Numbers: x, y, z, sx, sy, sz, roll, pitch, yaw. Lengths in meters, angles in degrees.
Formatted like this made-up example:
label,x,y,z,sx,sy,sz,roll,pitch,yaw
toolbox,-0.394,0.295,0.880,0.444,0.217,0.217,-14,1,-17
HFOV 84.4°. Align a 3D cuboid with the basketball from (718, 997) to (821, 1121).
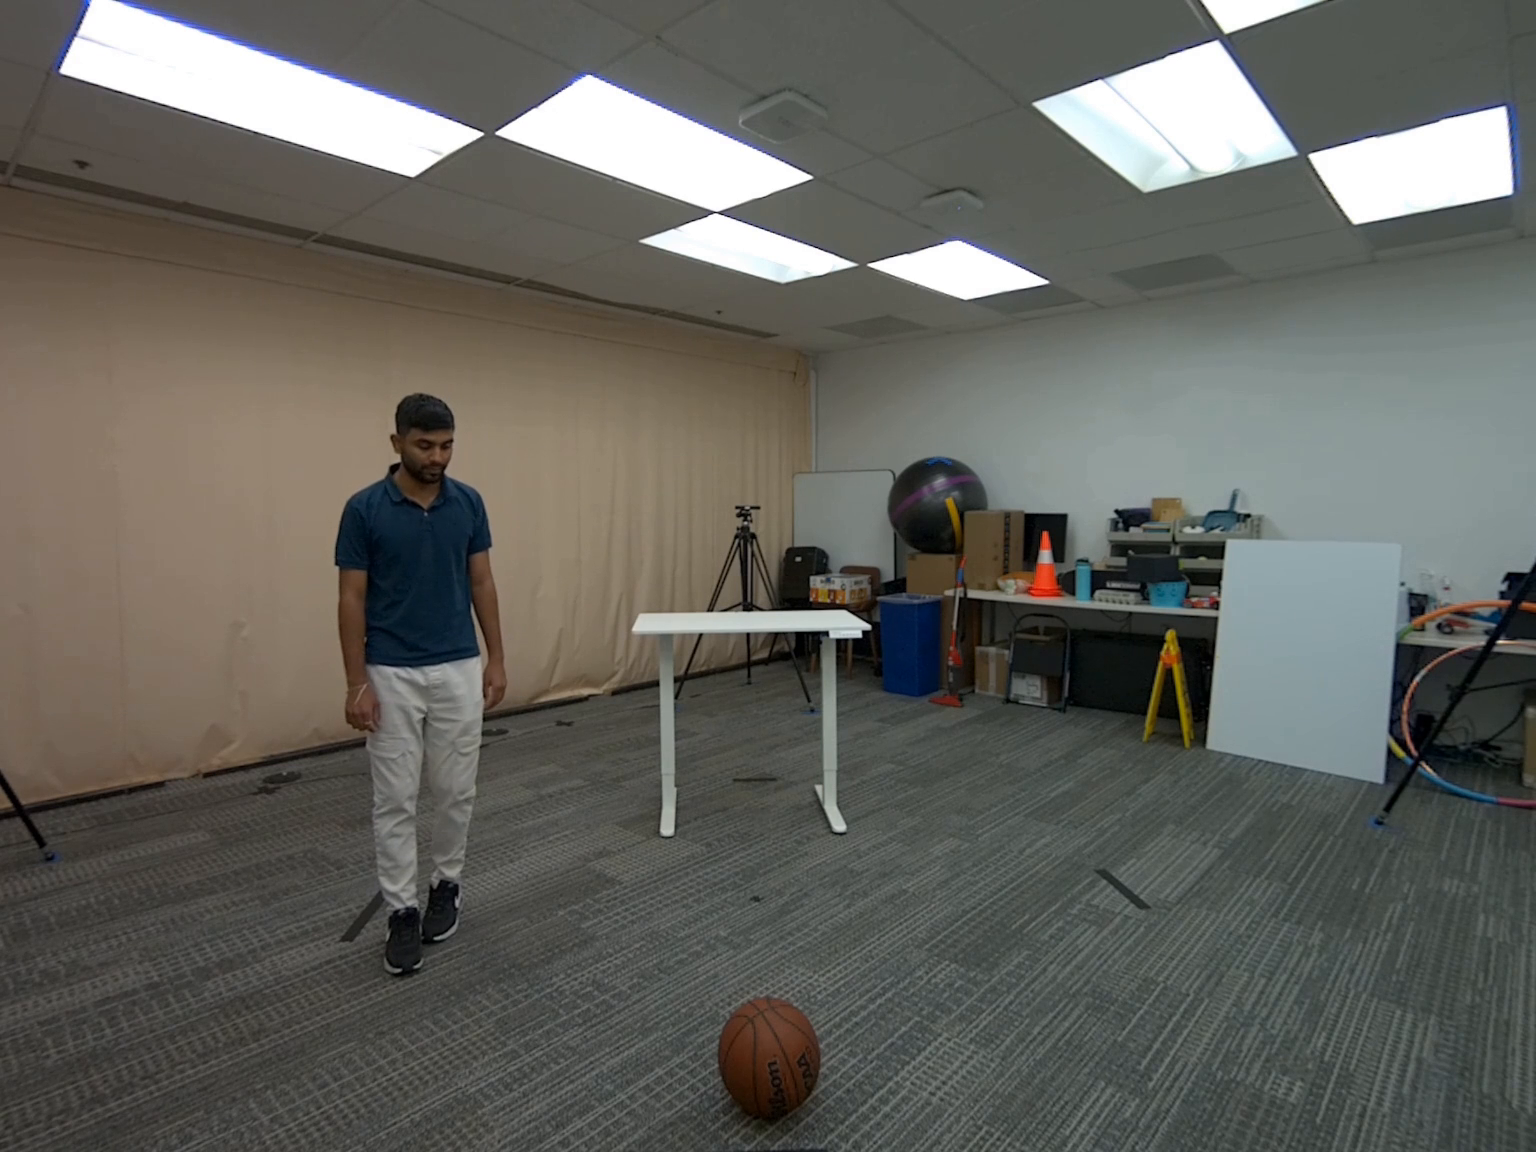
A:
label,x,y,z,sx,sy,sz,roll,pitch,yaw
basketball,0.006,1.113,1.948,0.236,0.235,0.237,0,4,-2
